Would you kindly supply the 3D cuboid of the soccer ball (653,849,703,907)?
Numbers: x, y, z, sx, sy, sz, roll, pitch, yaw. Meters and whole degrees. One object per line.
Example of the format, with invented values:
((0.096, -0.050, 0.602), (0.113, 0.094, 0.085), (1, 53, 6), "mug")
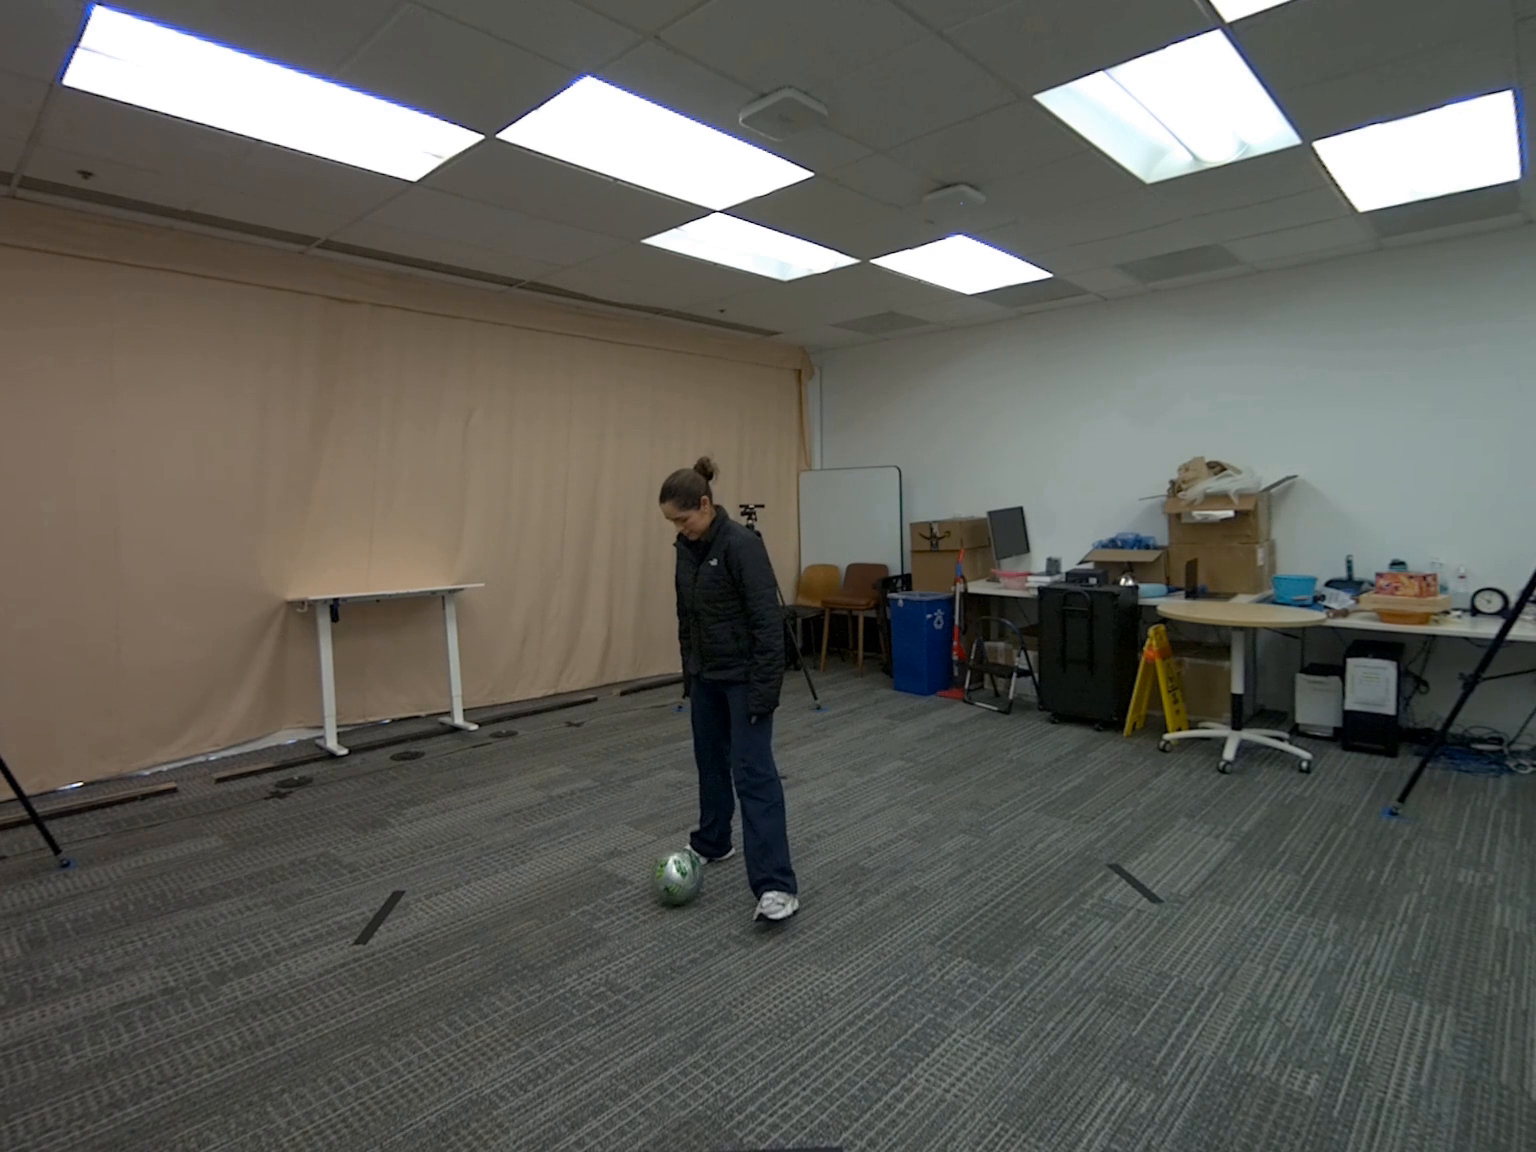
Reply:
((-0.319, 1.057, 2.955), (0.187, 0.187, 0.188), (-1, 4, -2), "soccer ball")
